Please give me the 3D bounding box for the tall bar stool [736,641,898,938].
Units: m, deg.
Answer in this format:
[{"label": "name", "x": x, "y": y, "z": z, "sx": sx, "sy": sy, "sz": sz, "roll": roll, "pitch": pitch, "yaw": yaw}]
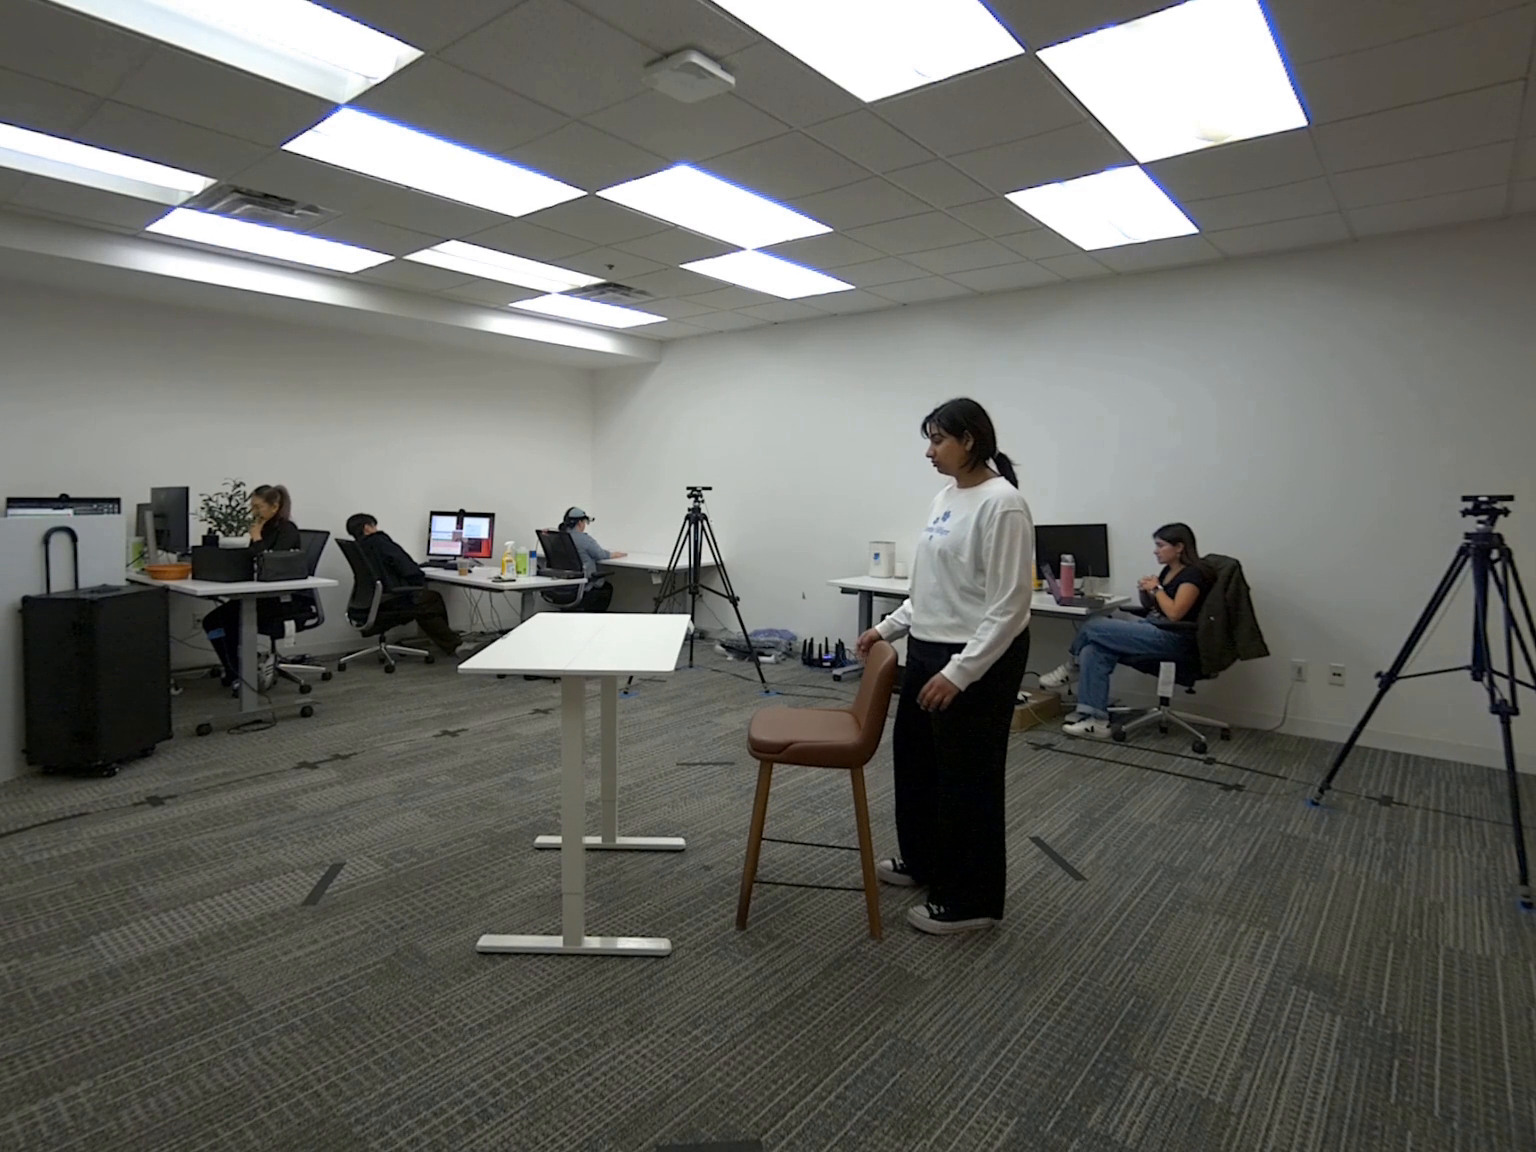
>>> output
[{"label": "tall bar stool", "x": 0.160, "y": 0.666, "z": 2.829, "sx": 0.472, "sy": 0.887, "sz": 0.454, "roll": 5, "pitch": 3, "yaw": 6}]
